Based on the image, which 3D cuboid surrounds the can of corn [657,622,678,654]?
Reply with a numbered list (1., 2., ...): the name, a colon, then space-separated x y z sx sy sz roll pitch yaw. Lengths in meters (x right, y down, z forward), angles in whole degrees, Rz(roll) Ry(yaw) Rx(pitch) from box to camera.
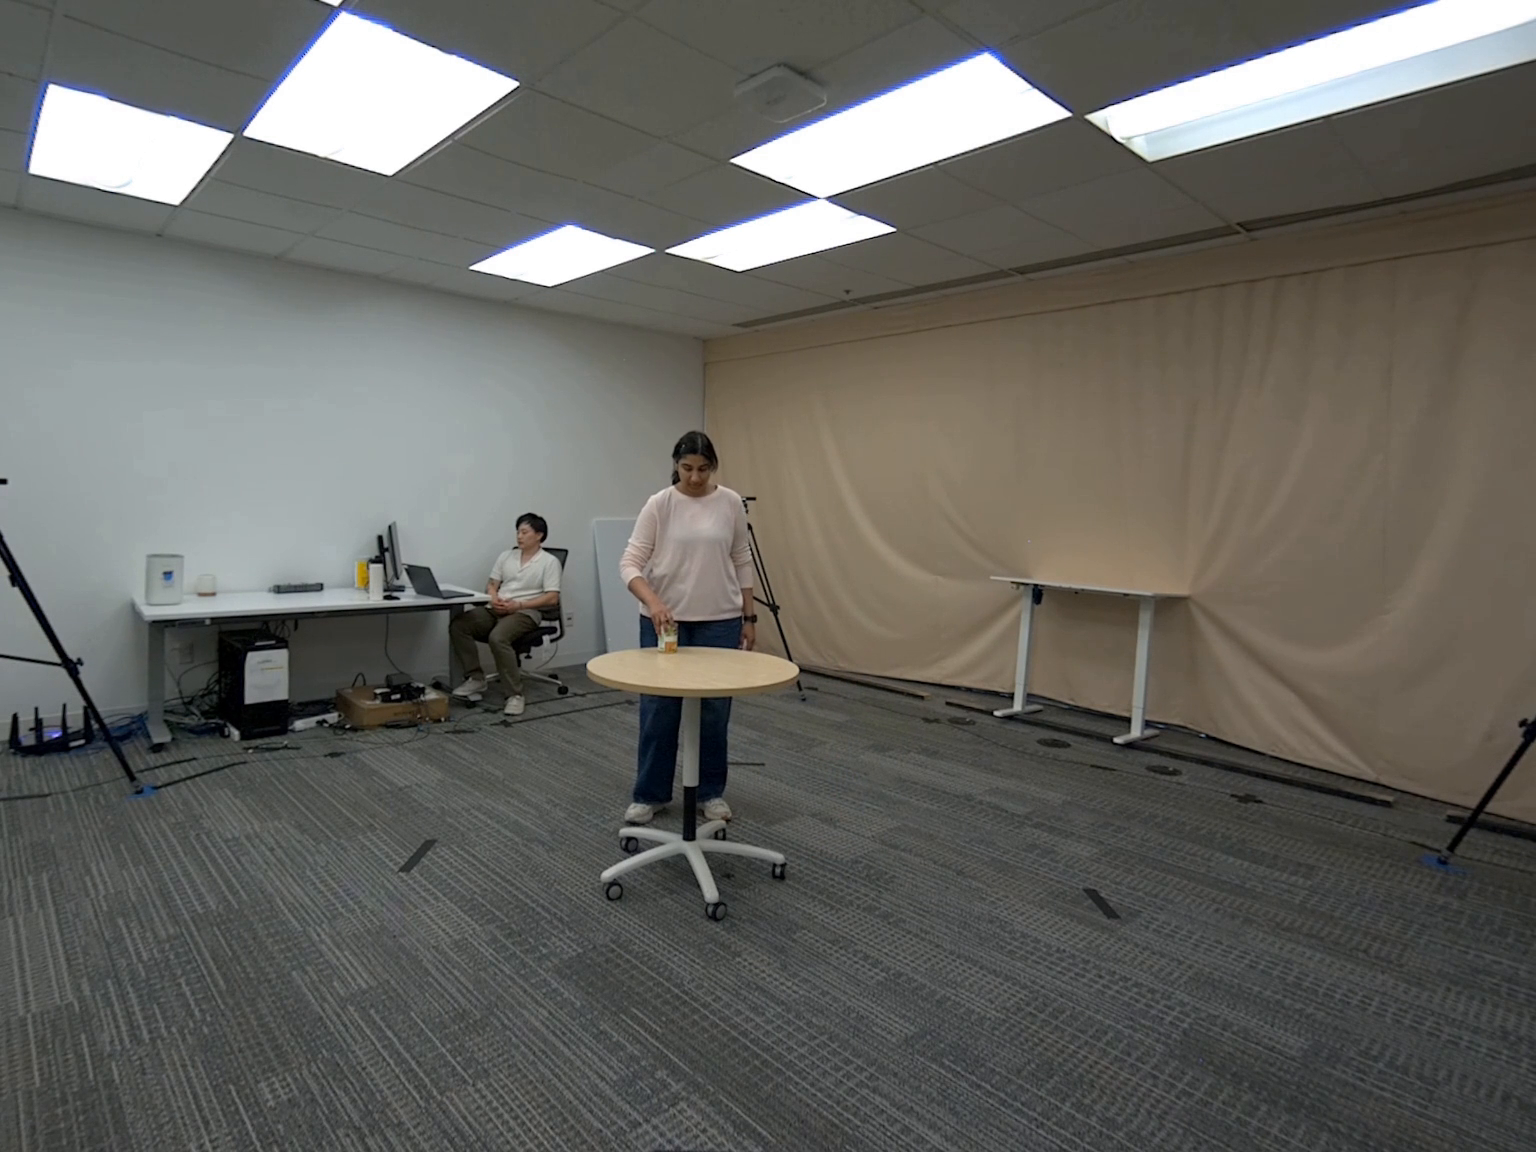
1. can of corn: -0.414 0.248 3.301 0.074 0.111 0.074 -2 -2 -1
